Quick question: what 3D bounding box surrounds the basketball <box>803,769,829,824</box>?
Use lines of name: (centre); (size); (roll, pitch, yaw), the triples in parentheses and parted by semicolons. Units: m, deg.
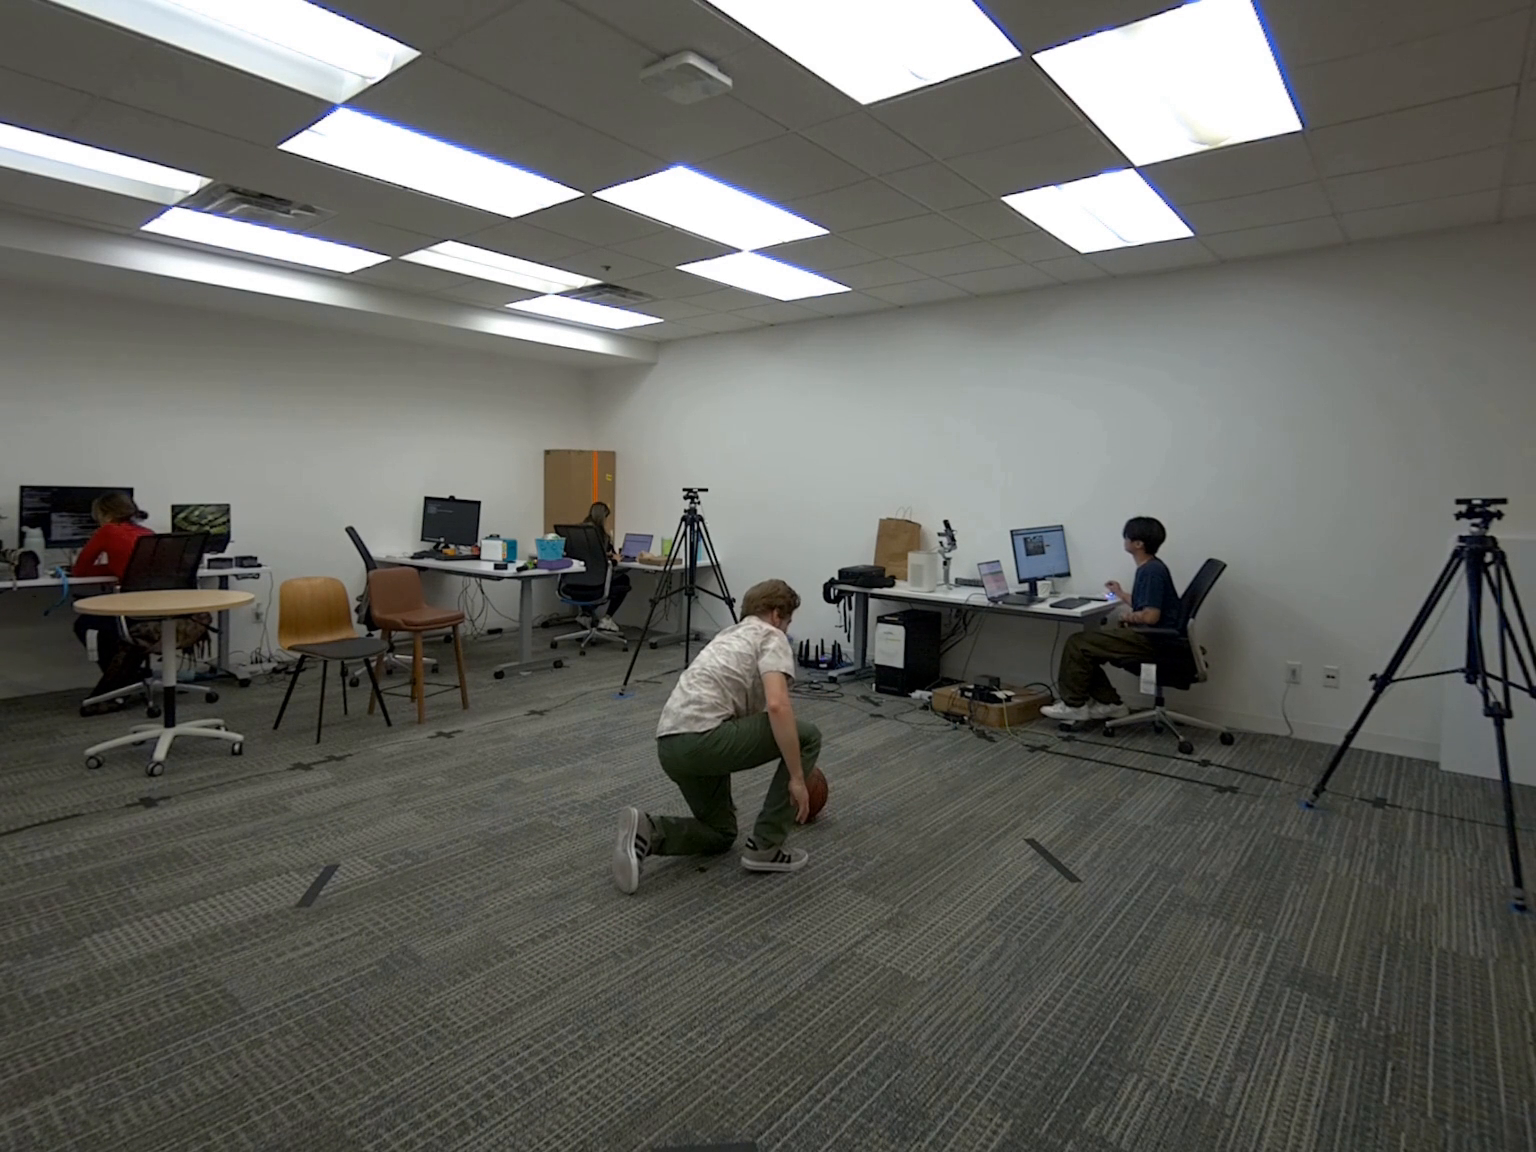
basketball: (0.133, 0.902, 3.624); (0.235, 0.235, 0.237); (1, 4, -2)
